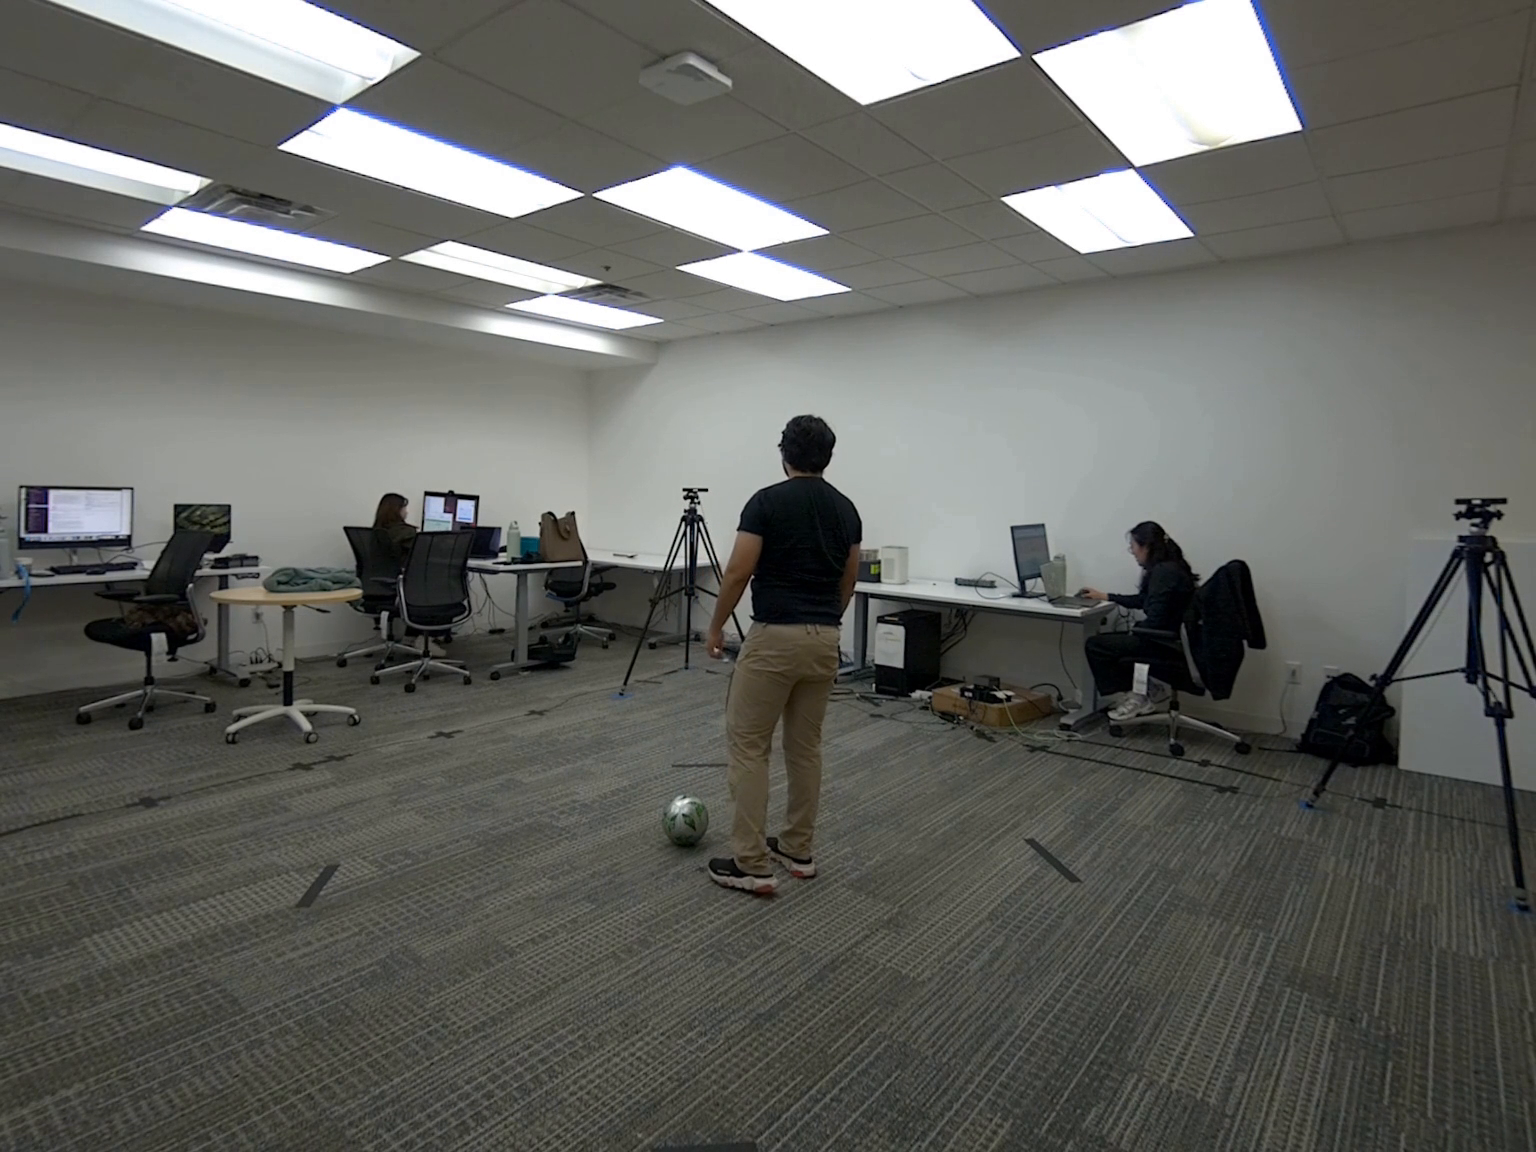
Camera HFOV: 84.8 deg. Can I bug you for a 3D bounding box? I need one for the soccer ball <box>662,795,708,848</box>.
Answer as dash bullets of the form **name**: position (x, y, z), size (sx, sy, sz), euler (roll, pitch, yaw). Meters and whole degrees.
- **soccer ball**: position (-0.332, 0.951, 3.333), size (0.187, 0.187, 0.188), euler (1, 4, -2)
